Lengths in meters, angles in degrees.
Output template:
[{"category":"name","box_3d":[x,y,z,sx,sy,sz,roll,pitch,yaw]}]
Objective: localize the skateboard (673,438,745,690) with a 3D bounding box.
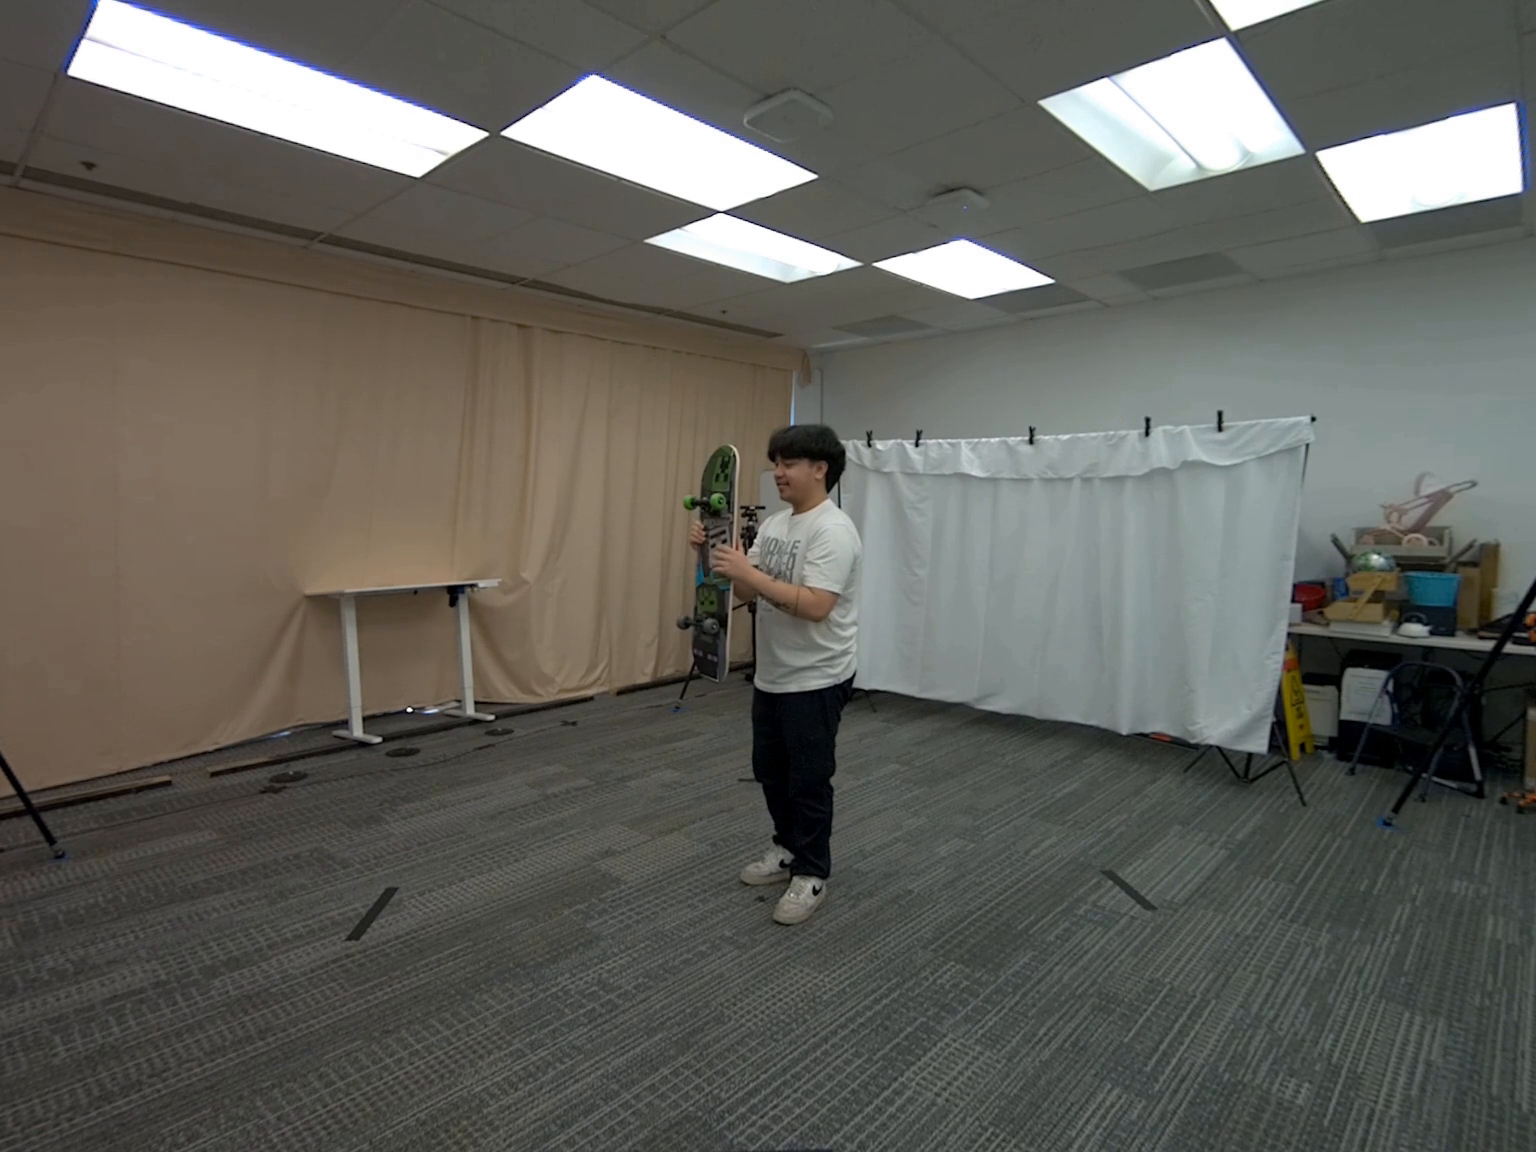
[{"category":"skateboard","box_3d":[-0.195,-0.042,2.760,0.107,0.786,0.199,3,-1,-37]}]
